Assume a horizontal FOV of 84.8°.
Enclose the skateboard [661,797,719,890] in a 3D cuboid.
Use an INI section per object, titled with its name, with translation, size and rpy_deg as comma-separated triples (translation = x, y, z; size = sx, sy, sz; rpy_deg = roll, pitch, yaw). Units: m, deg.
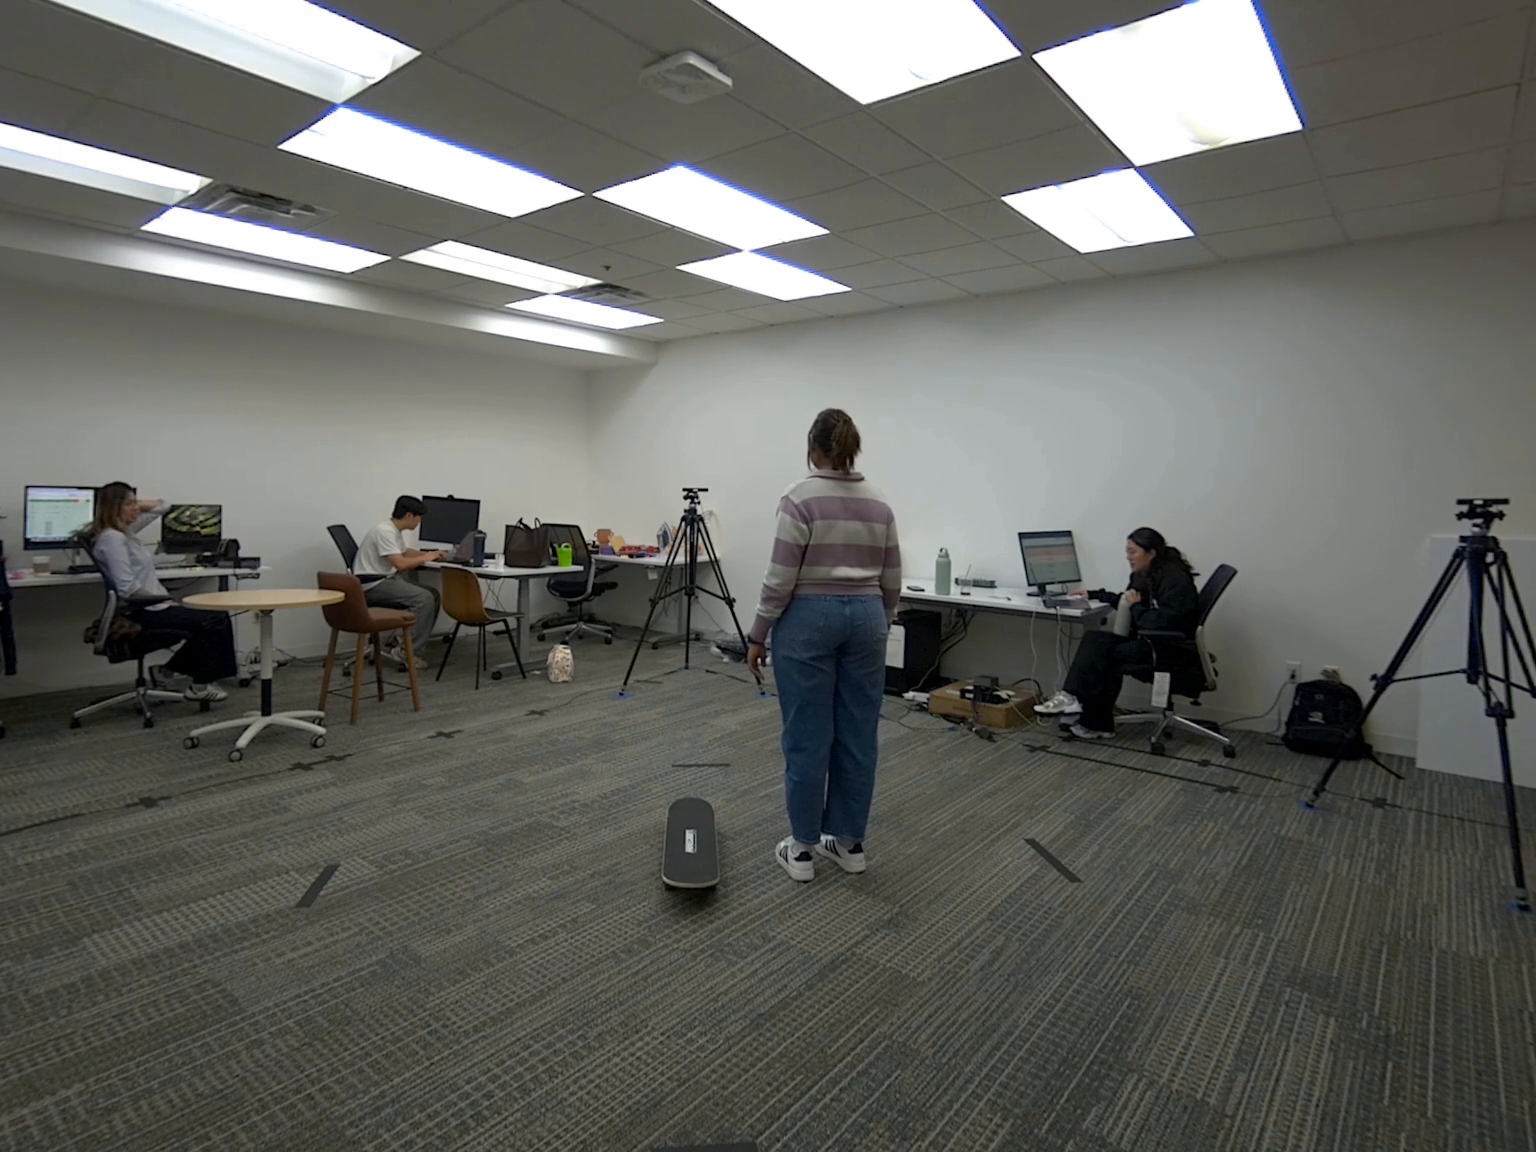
[skateboard]
translation = -0.294, 1.003, 3.146
size = 0.193, 0.110, 0.791
rpy_deg = 1, 5, -5
